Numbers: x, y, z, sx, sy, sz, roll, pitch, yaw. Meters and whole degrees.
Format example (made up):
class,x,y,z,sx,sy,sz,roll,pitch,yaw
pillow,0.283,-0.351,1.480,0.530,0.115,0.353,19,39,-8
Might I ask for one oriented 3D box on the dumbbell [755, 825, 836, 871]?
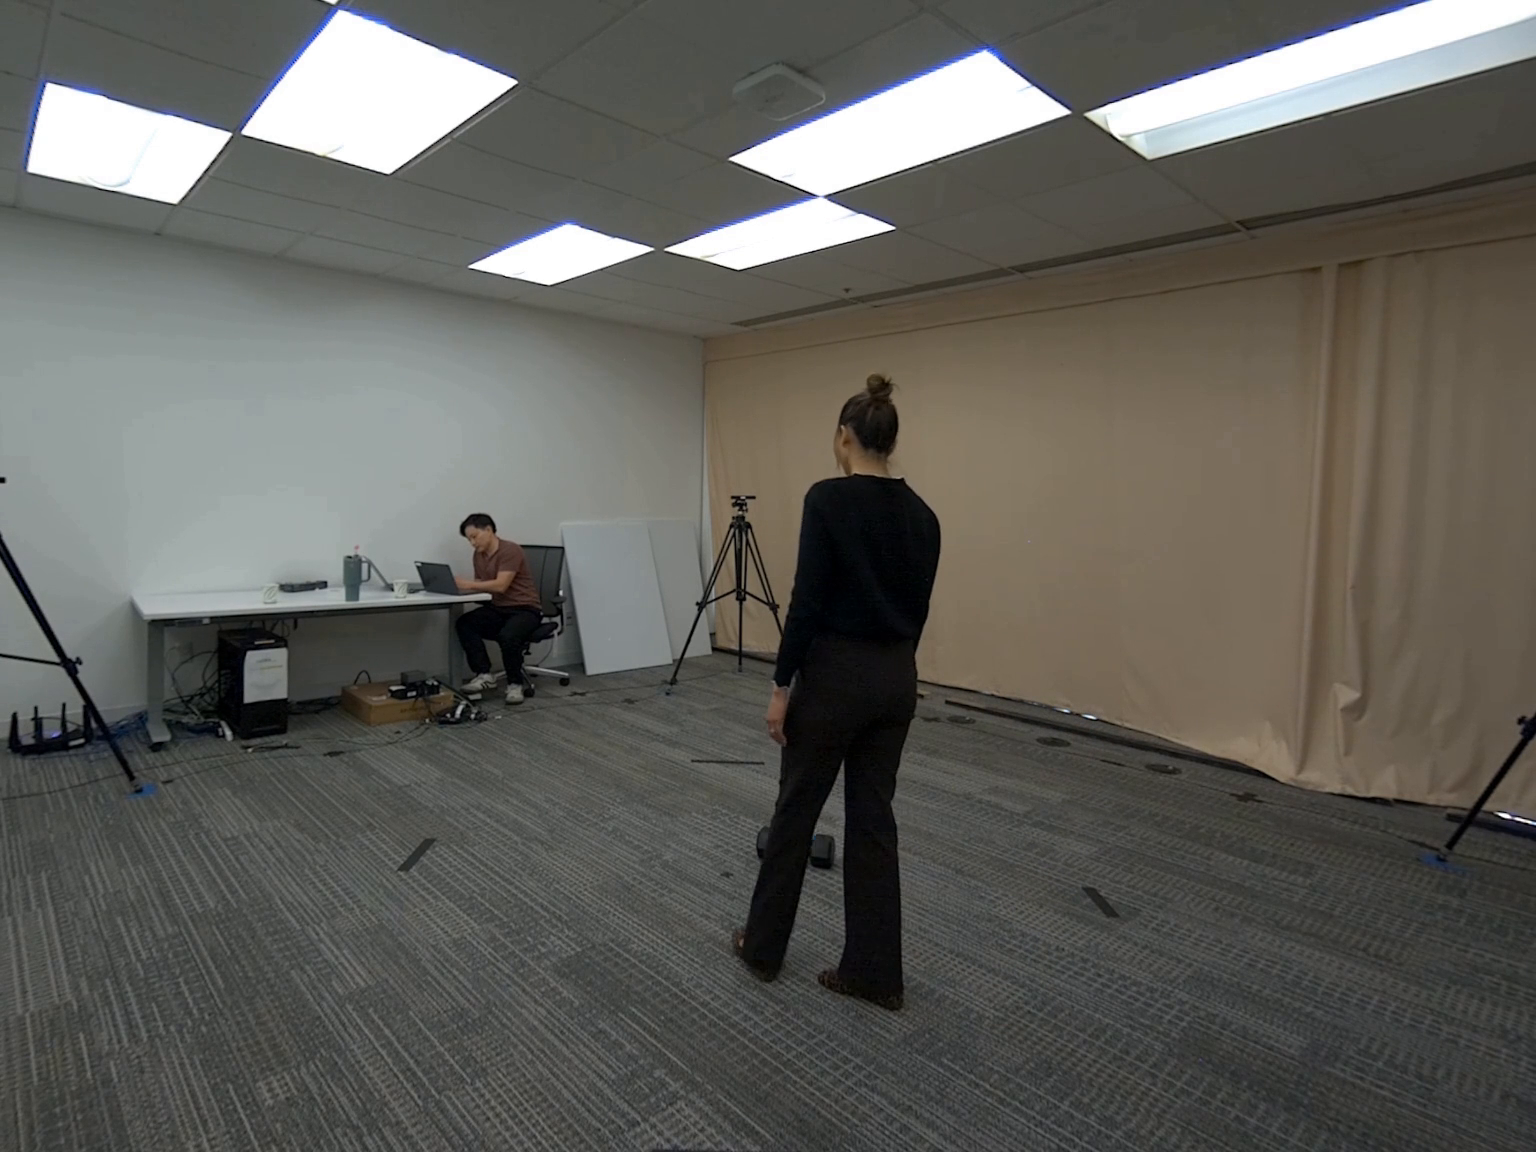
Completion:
class,x,y,z,sx,sy,sz,roll,pitch,yaw
dumbbell,0.102,1.043,3.237,0.298,0.120,0.109,3,34,18
